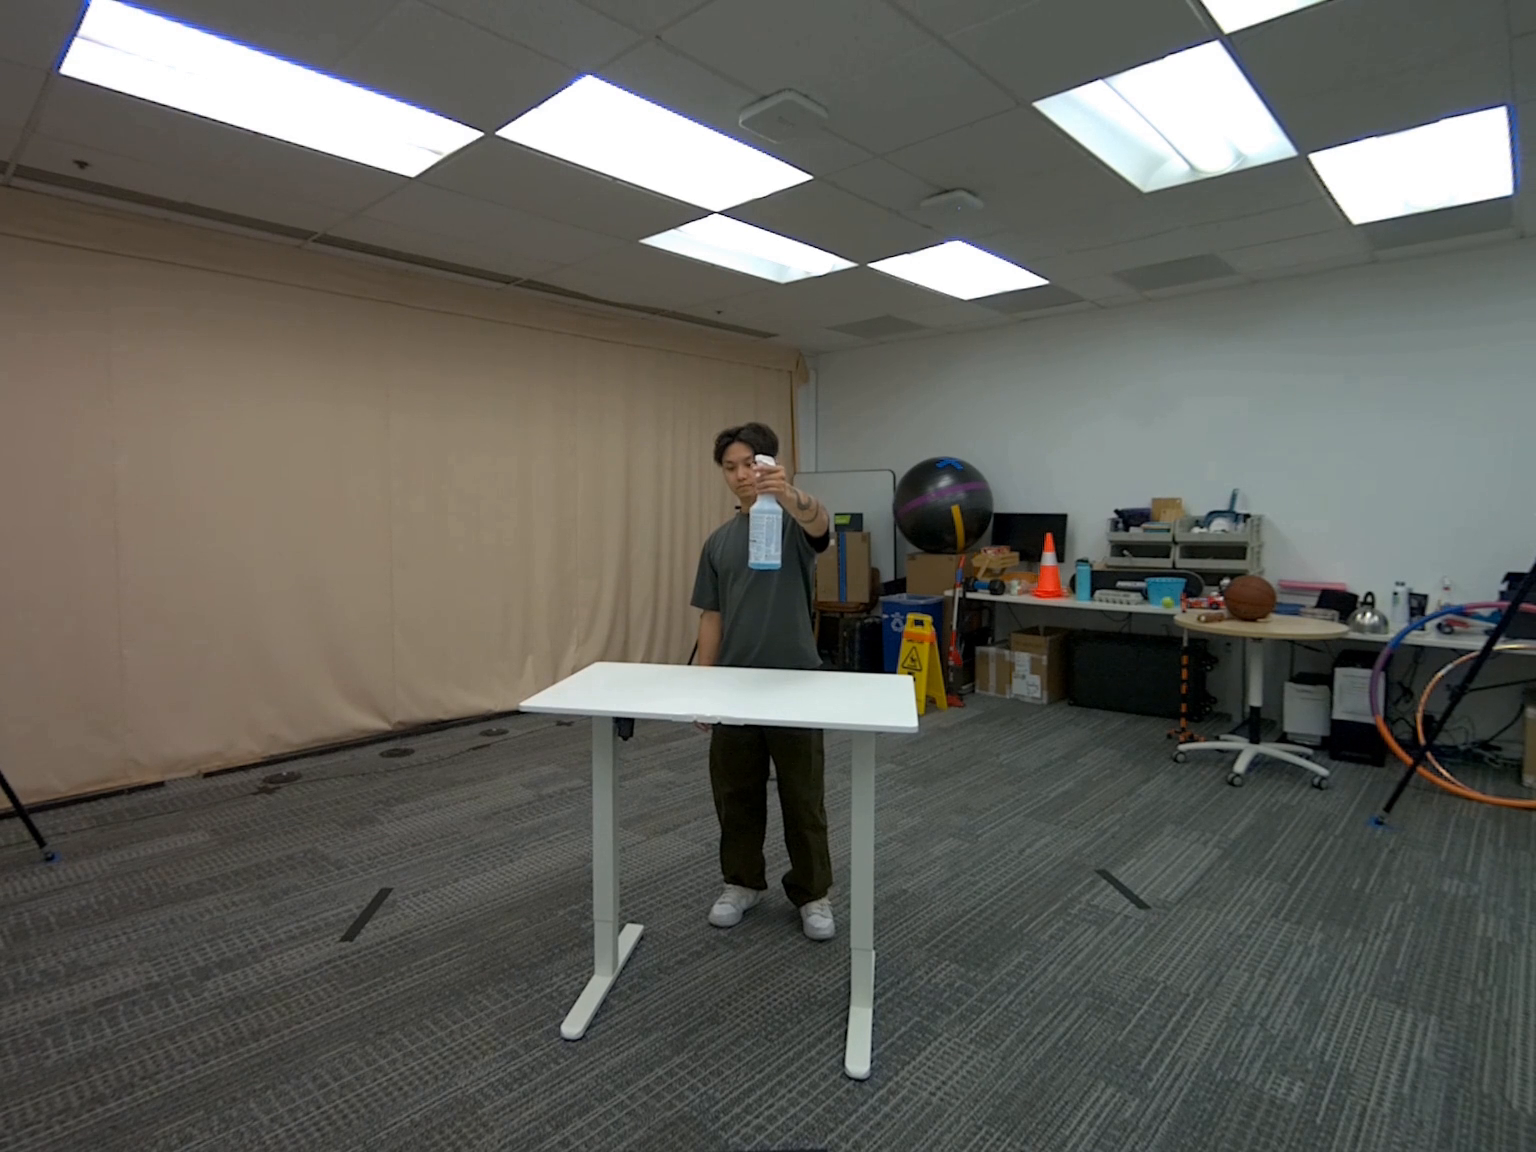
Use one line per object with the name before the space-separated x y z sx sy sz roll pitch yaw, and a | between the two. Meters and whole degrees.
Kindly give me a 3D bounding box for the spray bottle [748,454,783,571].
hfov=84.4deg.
spray bottle | -0.015 -0.163 2.231 0.087 0.297 0.090 -2 3 -34
